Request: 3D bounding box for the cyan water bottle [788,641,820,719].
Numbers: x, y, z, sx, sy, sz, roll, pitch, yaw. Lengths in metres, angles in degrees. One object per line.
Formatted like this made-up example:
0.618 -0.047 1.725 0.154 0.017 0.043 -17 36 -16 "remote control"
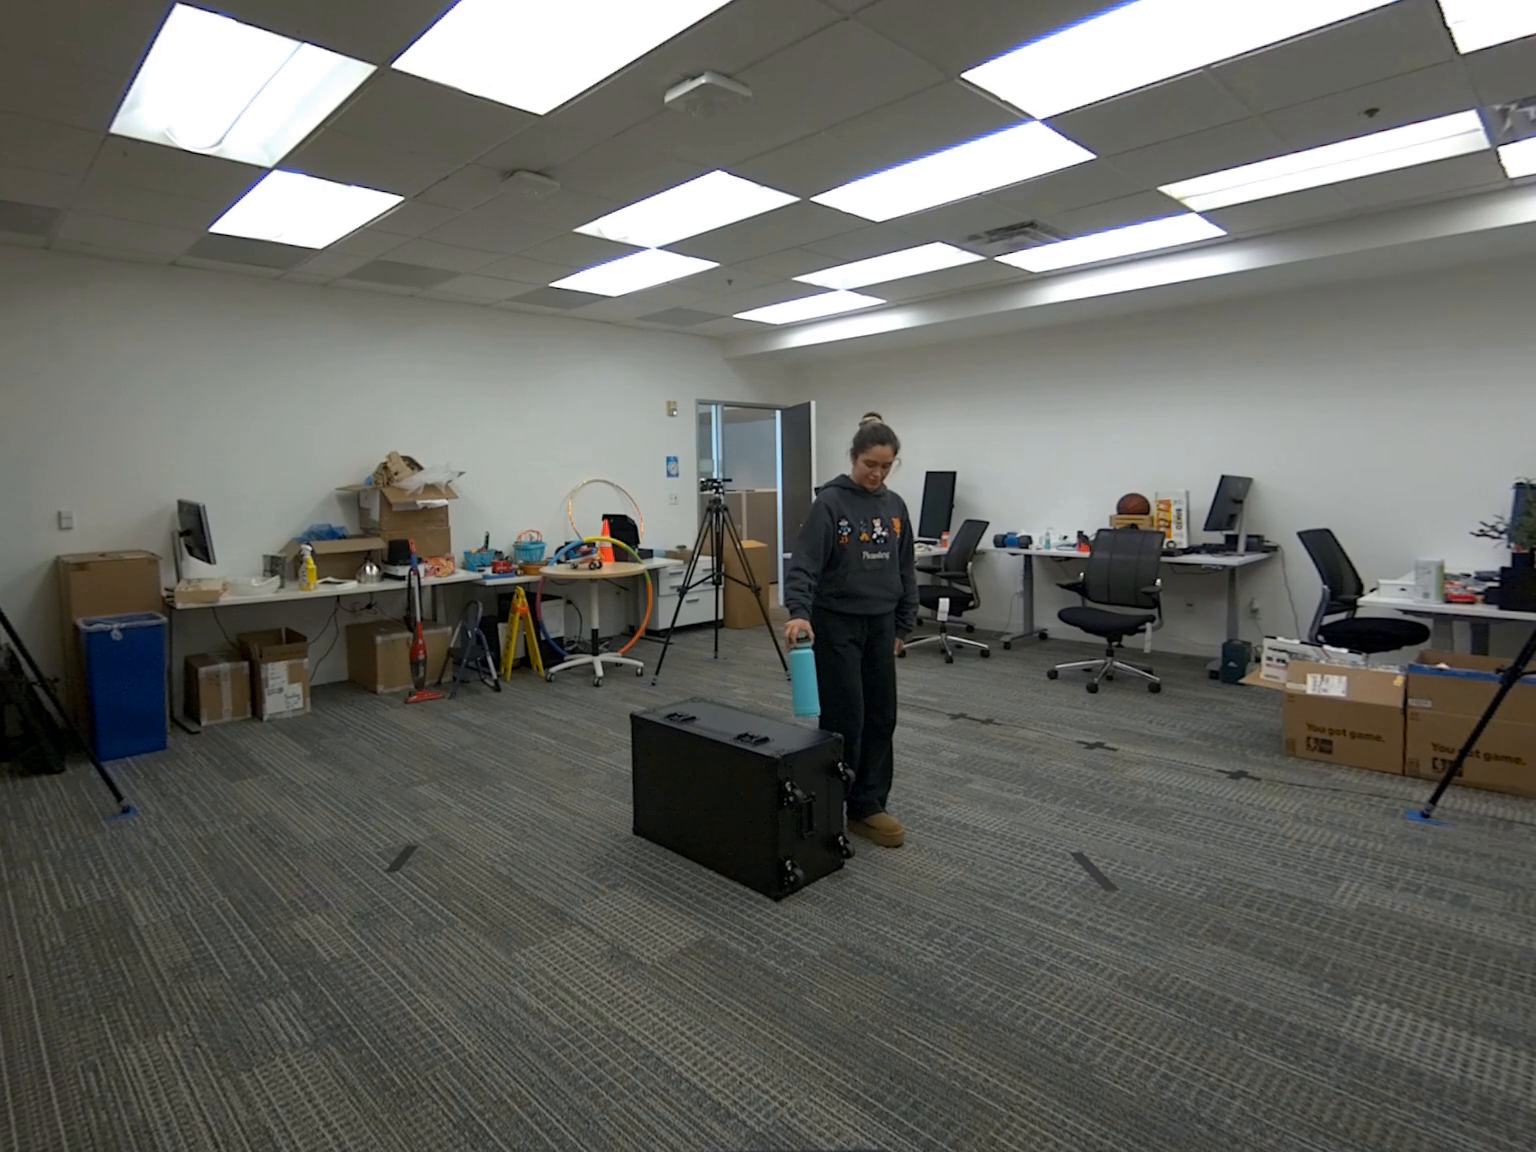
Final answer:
0.128 0.345 2.951 0.092 0.286 0.092 -3 -8 -2 "cyan water bottle"
